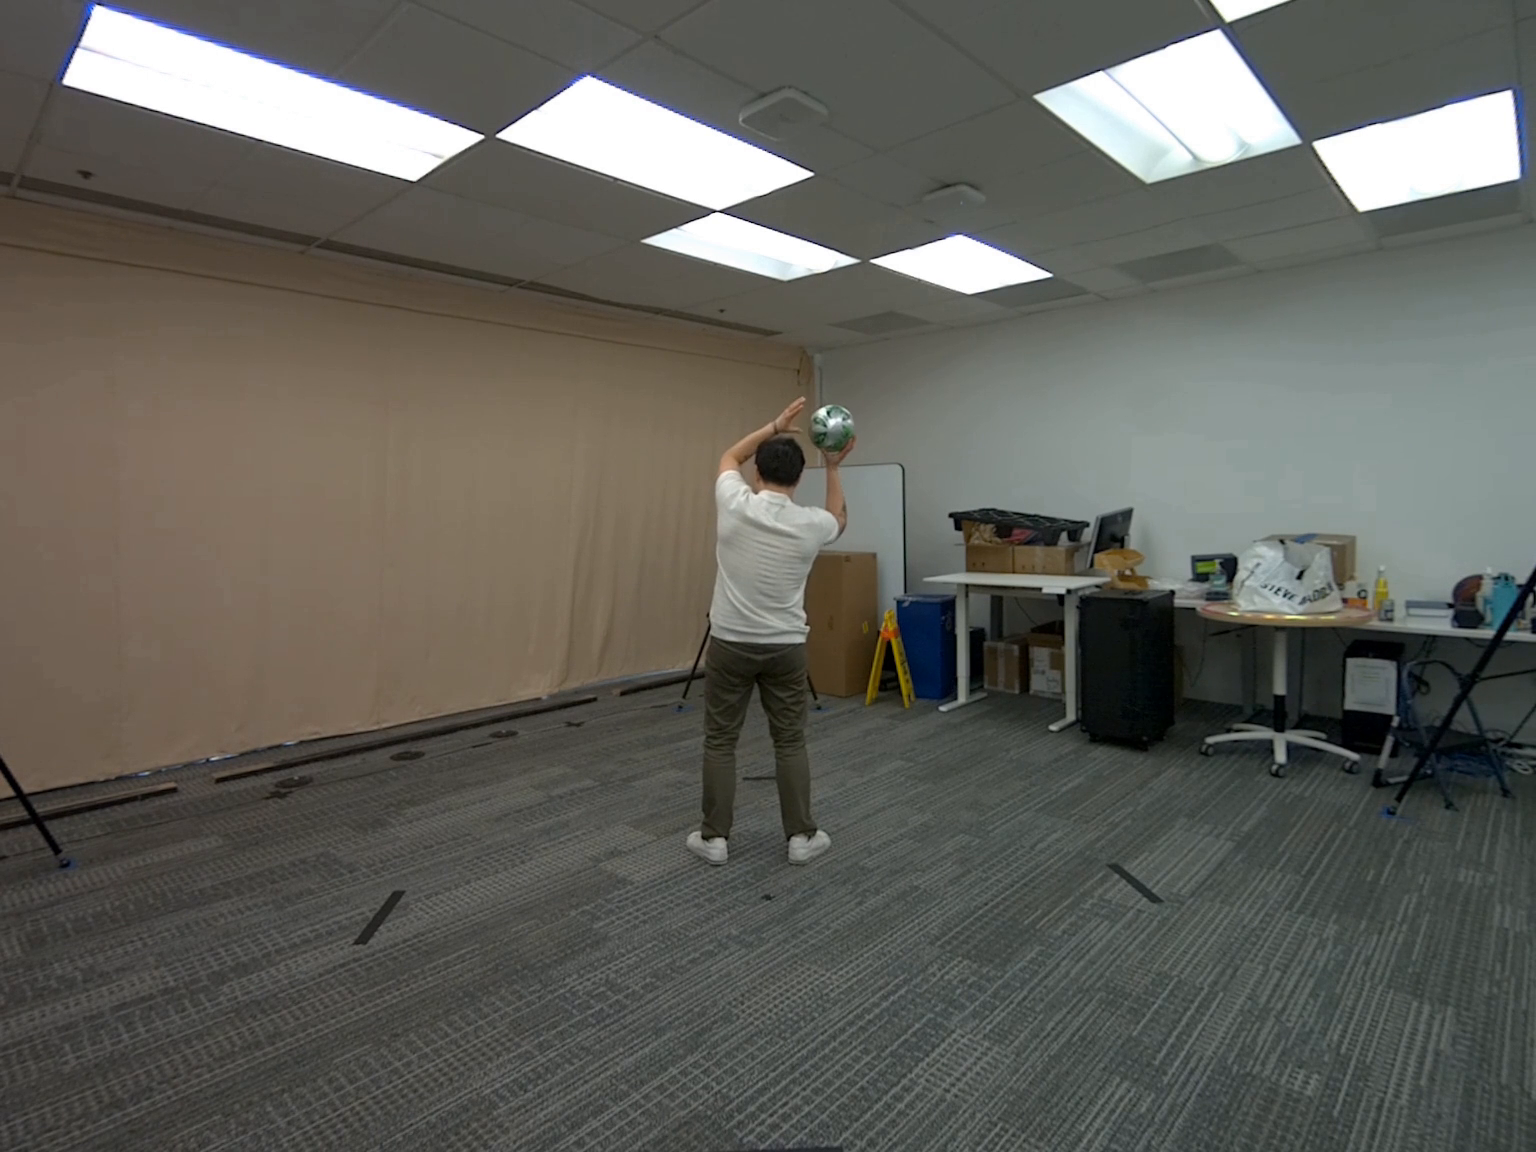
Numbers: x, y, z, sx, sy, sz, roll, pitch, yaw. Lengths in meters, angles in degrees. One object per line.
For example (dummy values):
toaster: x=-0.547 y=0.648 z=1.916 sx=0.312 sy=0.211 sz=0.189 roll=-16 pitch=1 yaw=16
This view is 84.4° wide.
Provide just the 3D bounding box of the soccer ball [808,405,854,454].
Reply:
soccer ball: x=0.252 y=-0.583 z=3.349 sx=0.187 sy=0.187 sz=0.188 roll=-1 pitch=4 yaw=-2
